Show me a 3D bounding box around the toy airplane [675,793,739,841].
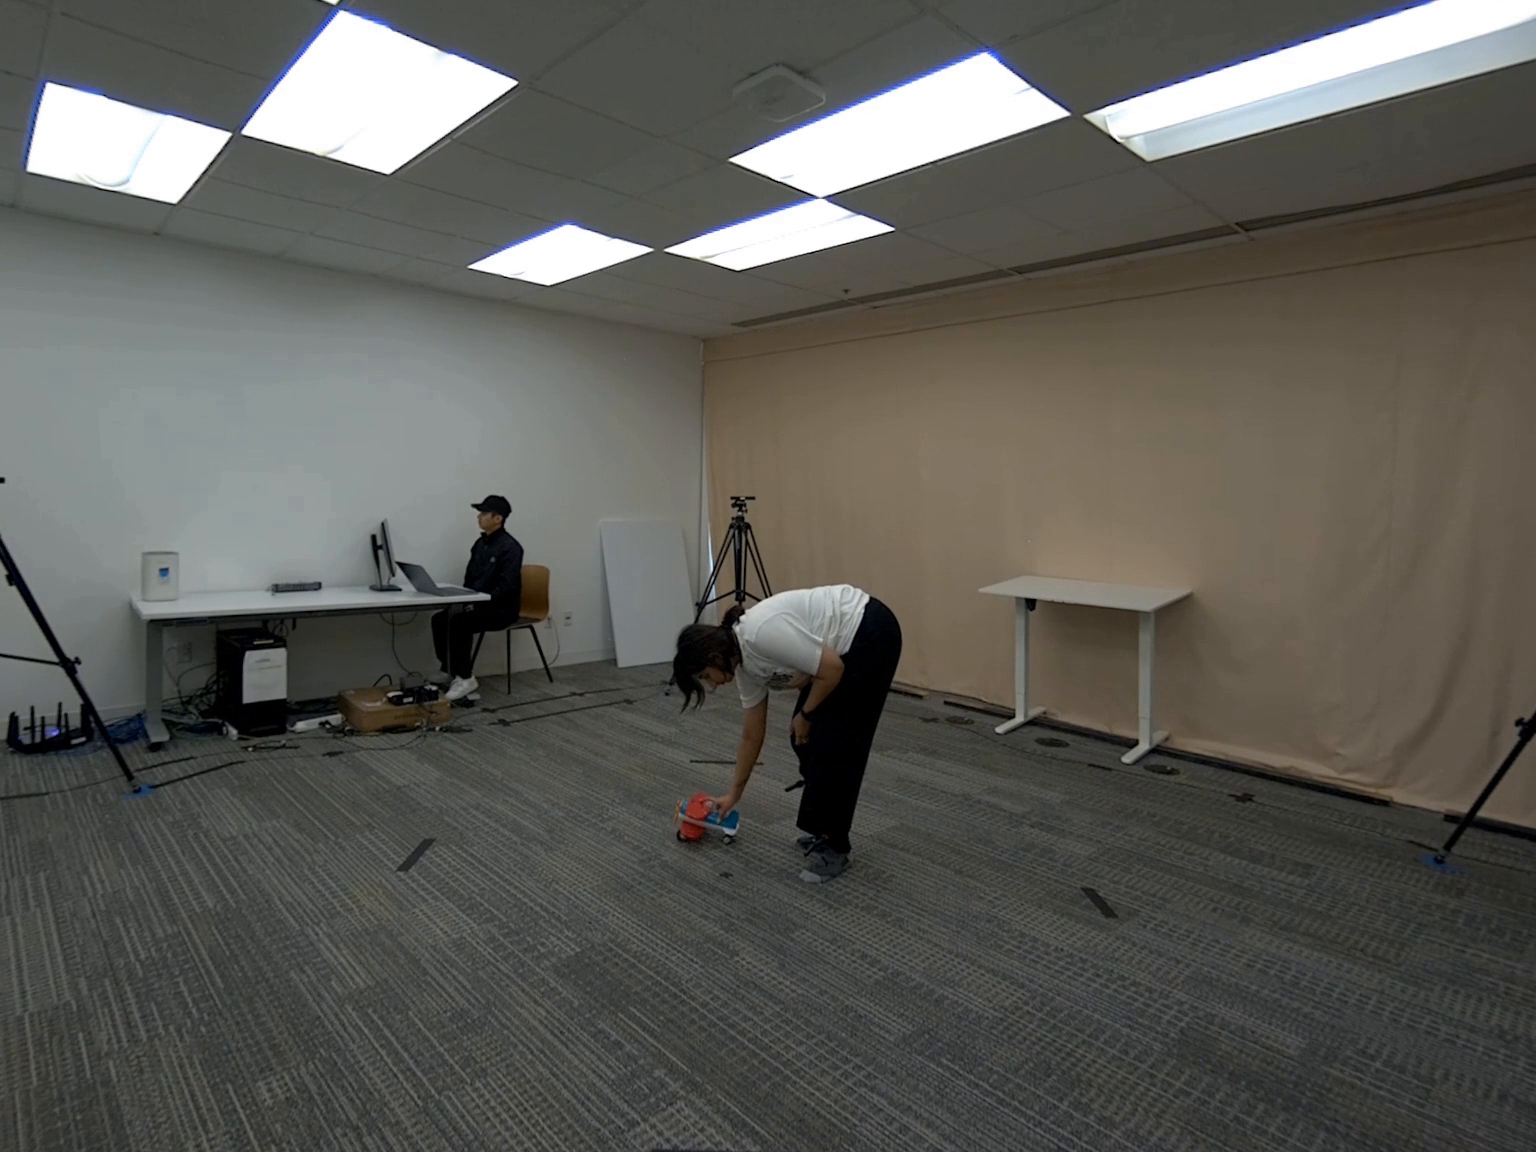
[{"bbox_3d":[-0.254,0.991,3.447,0.255,0.156,0.255,0,4,-20],"label":"toy airplane"}]
